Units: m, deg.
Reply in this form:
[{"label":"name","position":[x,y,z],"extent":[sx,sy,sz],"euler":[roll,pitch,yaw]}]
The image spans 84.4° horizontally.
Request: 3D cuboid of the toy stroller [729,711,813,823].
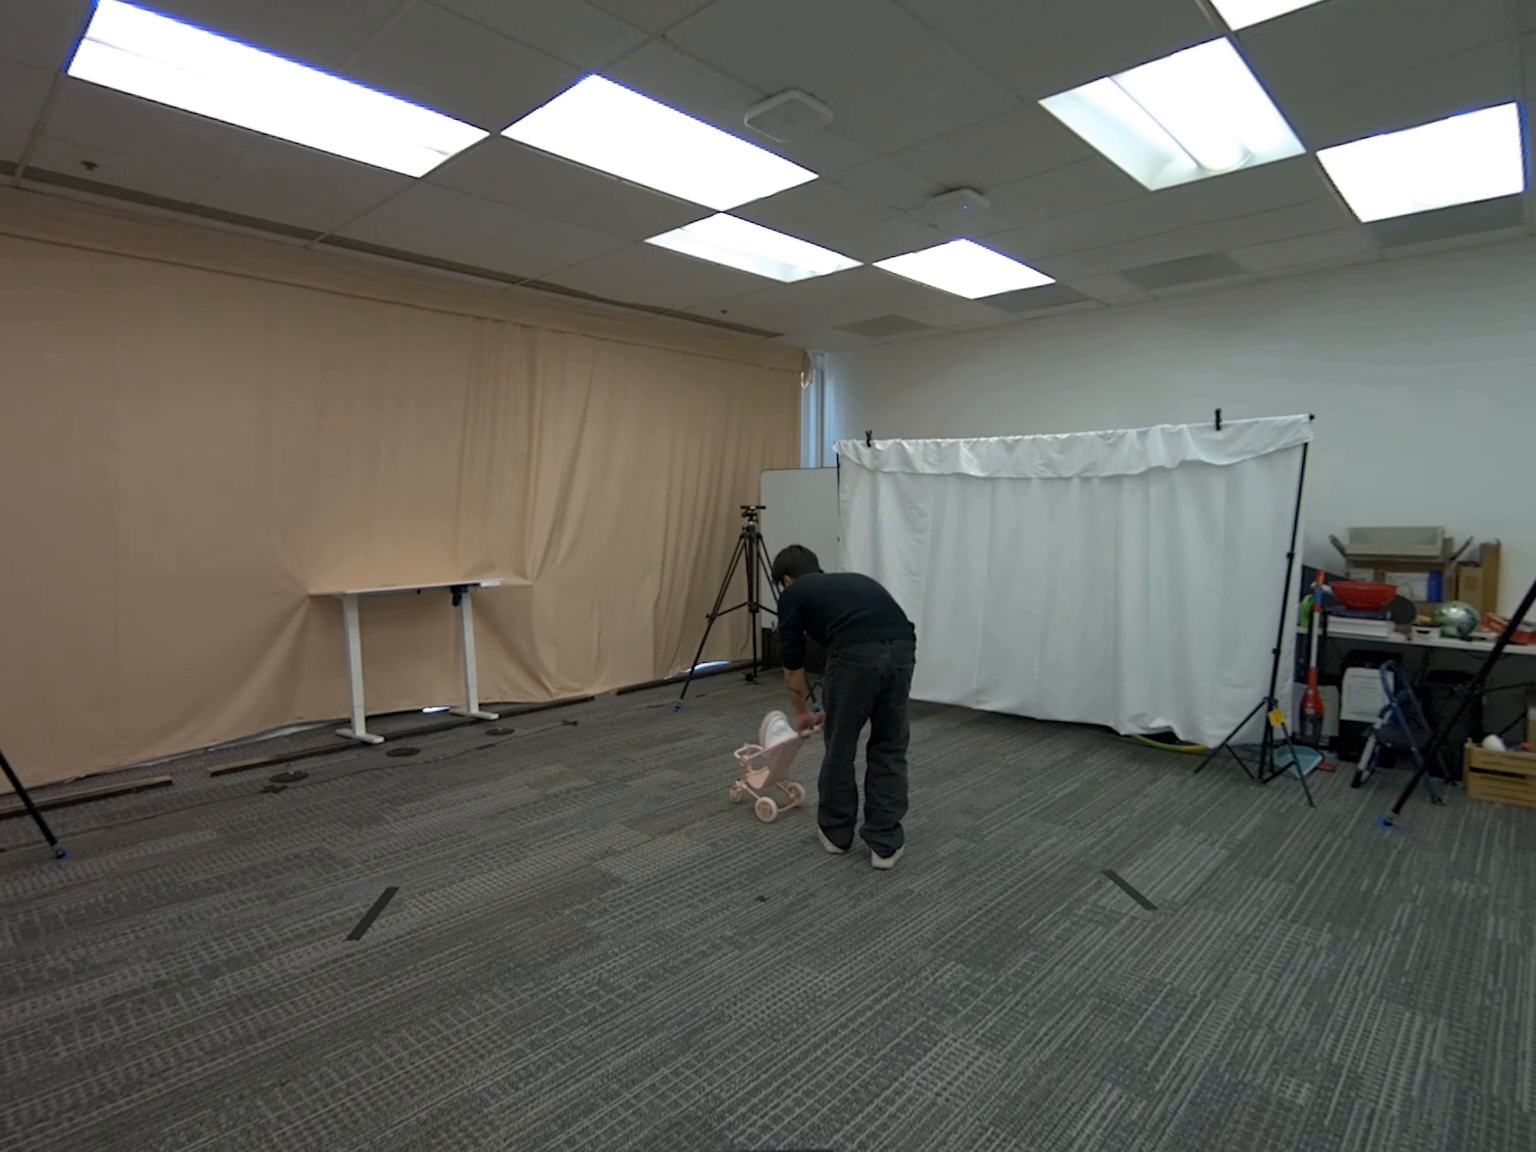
[{"label":"toy stroller","position":[0.013,0.851,3.842],"extent":[0.353,0.532,0.273],"euler":[24,16,36]}]
